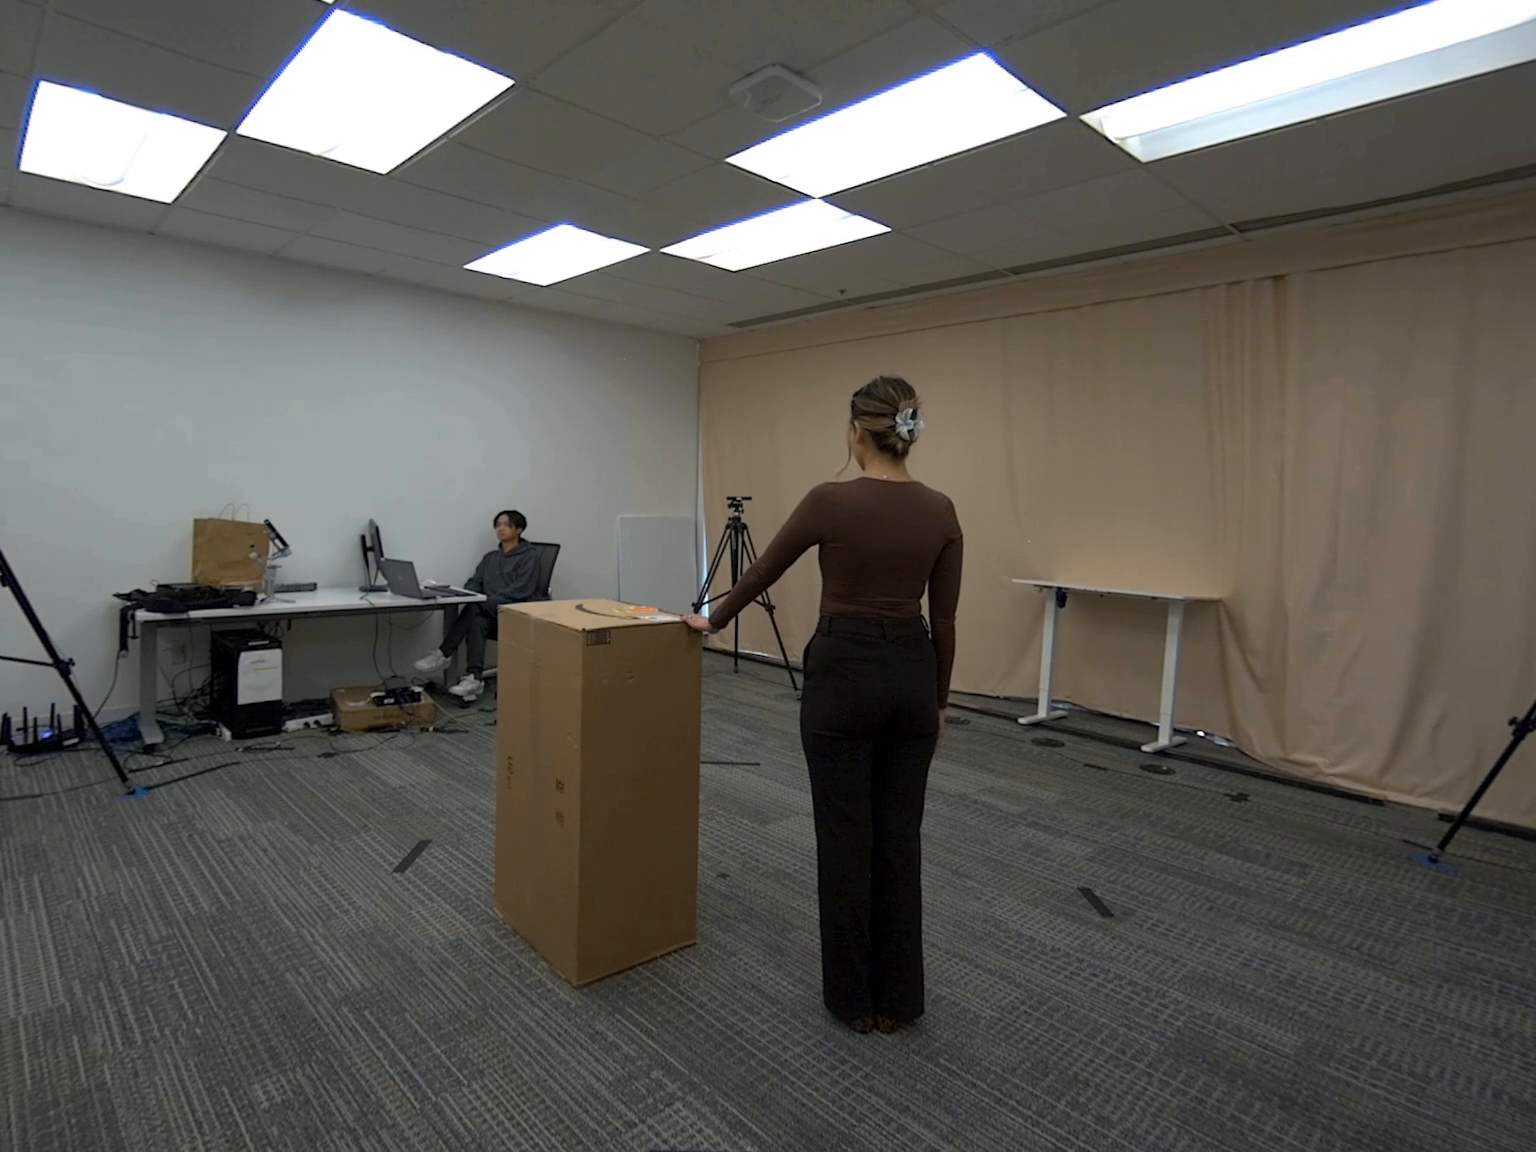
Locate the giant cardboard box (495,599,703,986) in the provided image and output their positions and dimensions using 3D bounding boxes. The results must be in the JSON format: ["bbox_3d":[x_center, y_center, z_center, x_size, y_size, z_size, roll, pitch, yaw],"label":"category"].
[{"bbox_3d":[-0.561,0.625,2.696,0.436,1.025,0.598,0,3,-38],"label":"giant cardboard box"}]
